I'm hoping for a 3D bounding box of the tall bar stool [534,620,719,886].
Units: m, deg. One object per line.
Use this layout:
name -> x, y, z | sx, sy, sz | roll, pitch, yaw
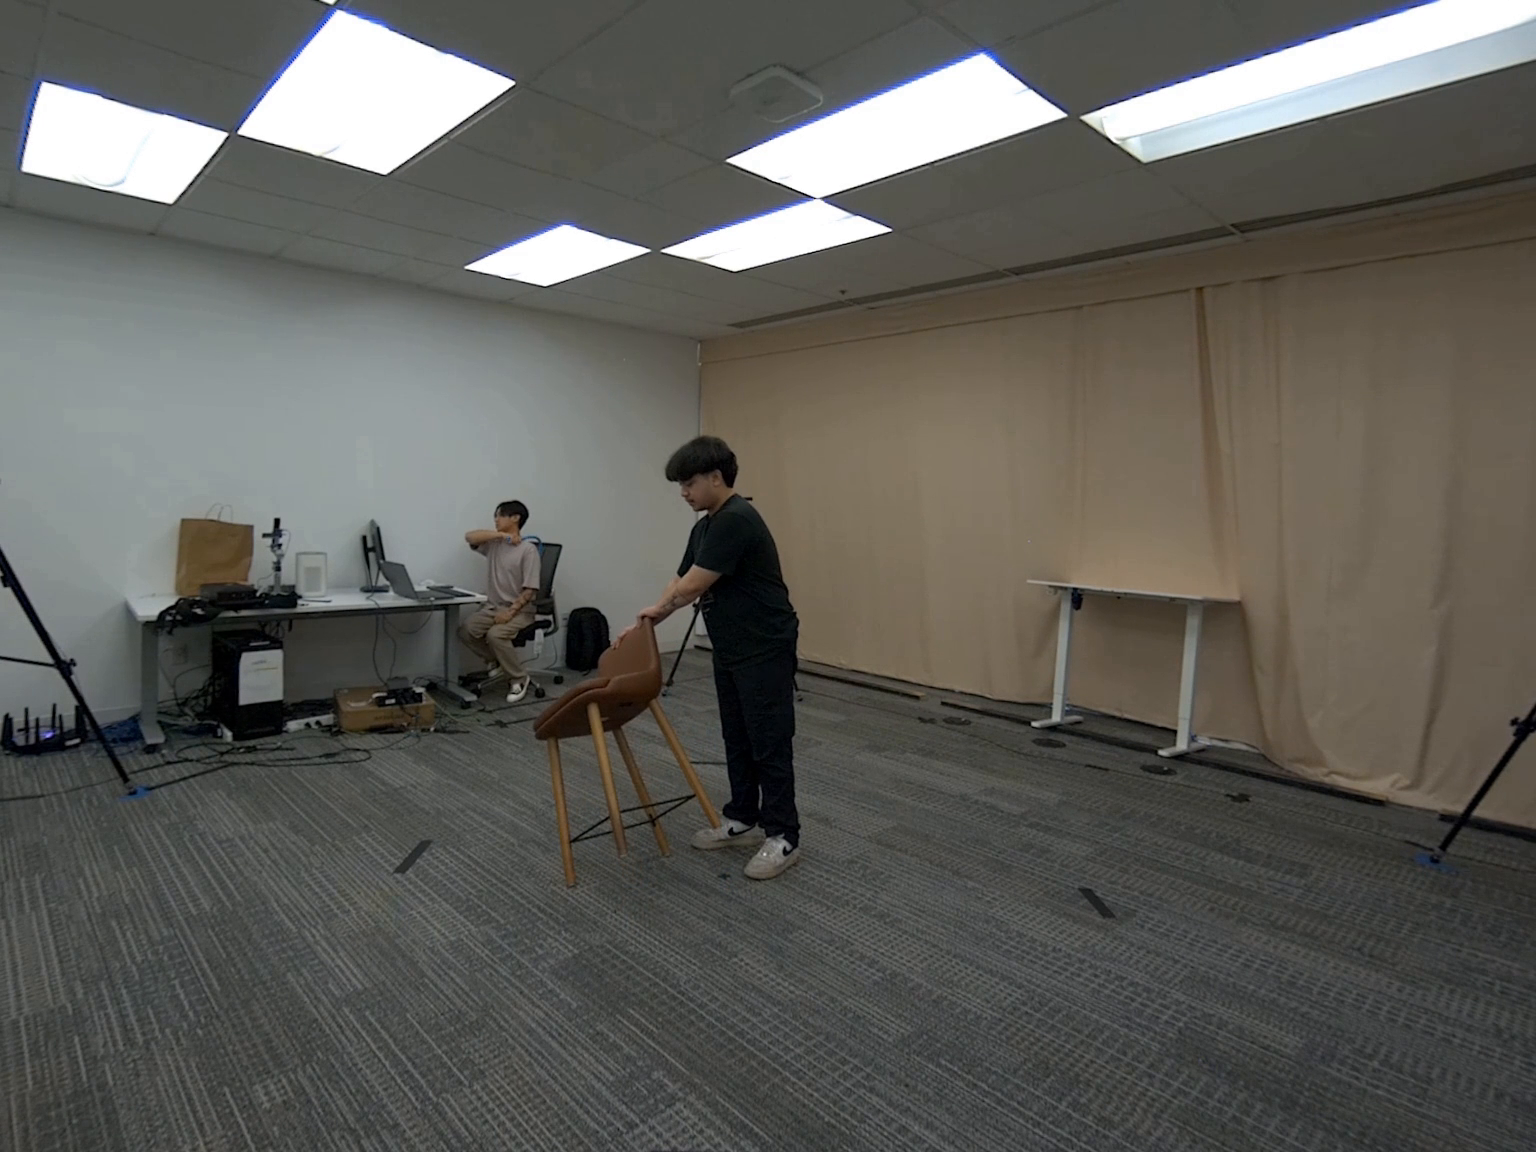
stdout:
tall bar stool -> -0.596, 0.623, 3.183 | 0.456, 0.909, 0.458 | 2, -32, -42
